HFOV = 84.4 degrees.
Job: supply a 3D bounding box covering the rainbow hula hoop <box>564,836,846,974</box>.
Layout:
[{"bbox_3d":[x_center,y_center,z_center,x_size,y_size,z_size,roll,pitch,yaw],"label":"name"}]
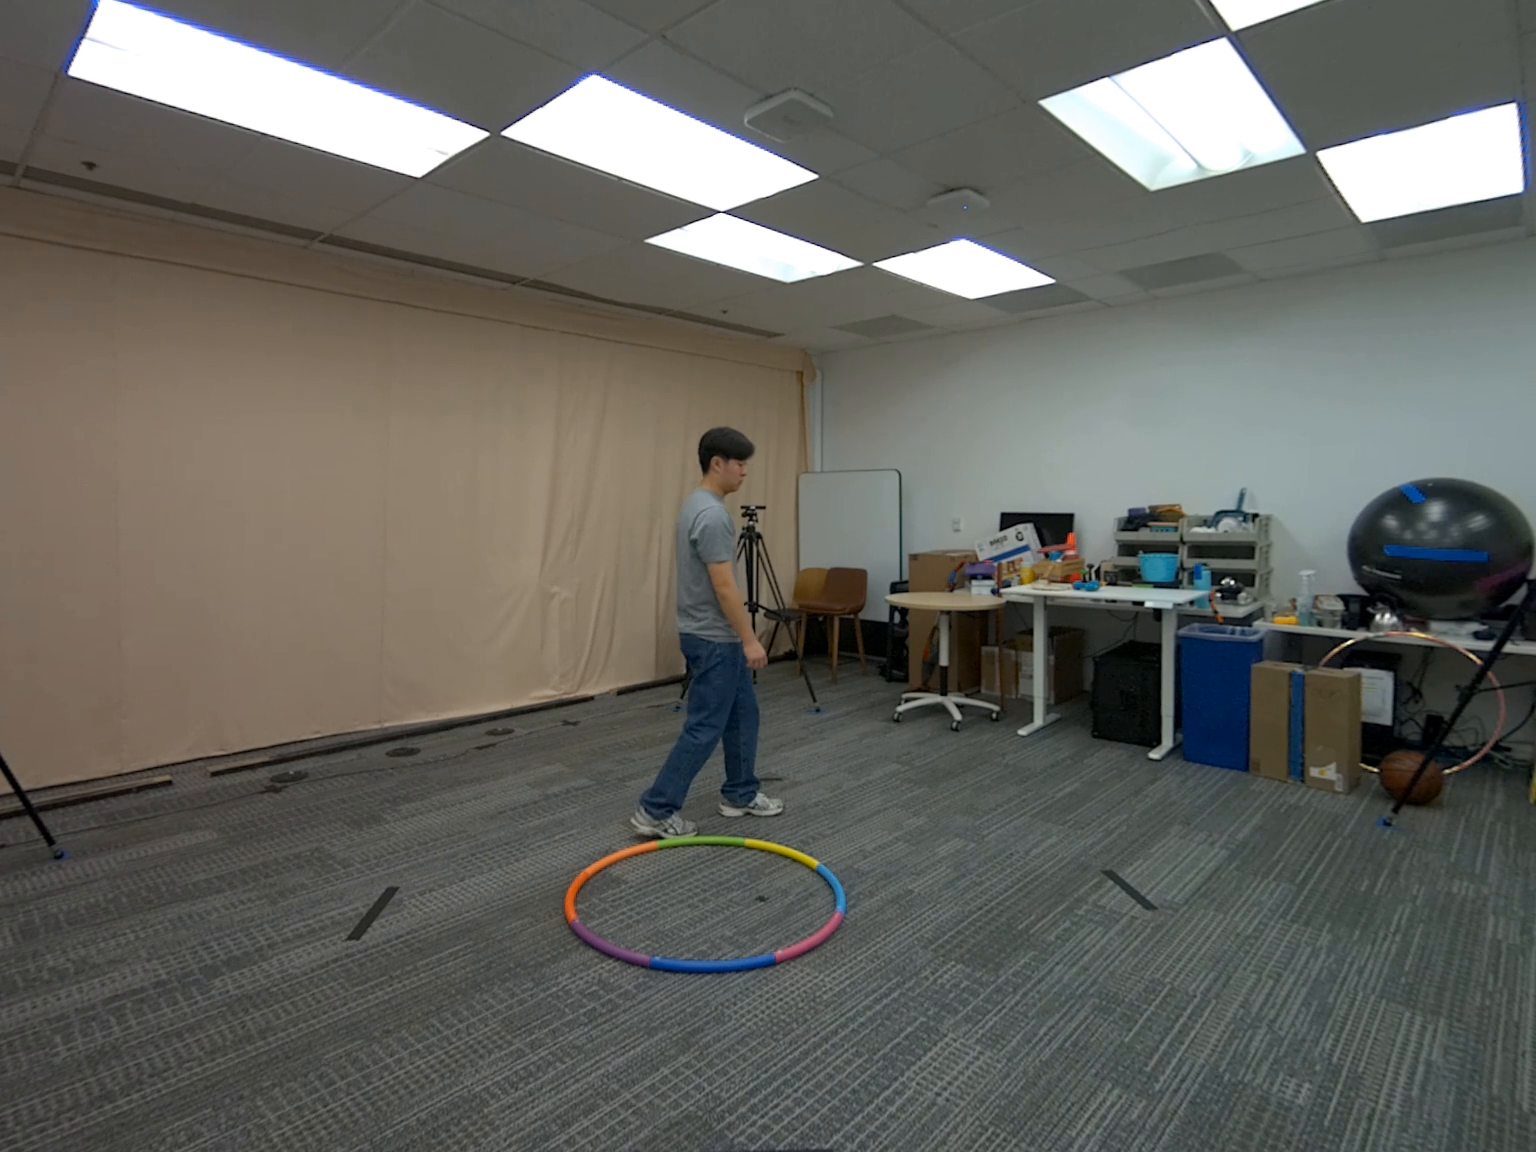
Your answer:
[{"bbox_3d":[-0.219,1.113,2.990,0.978,0.035,0.982,-1,5,-2],"label":"rainbow hula hoop"}]
